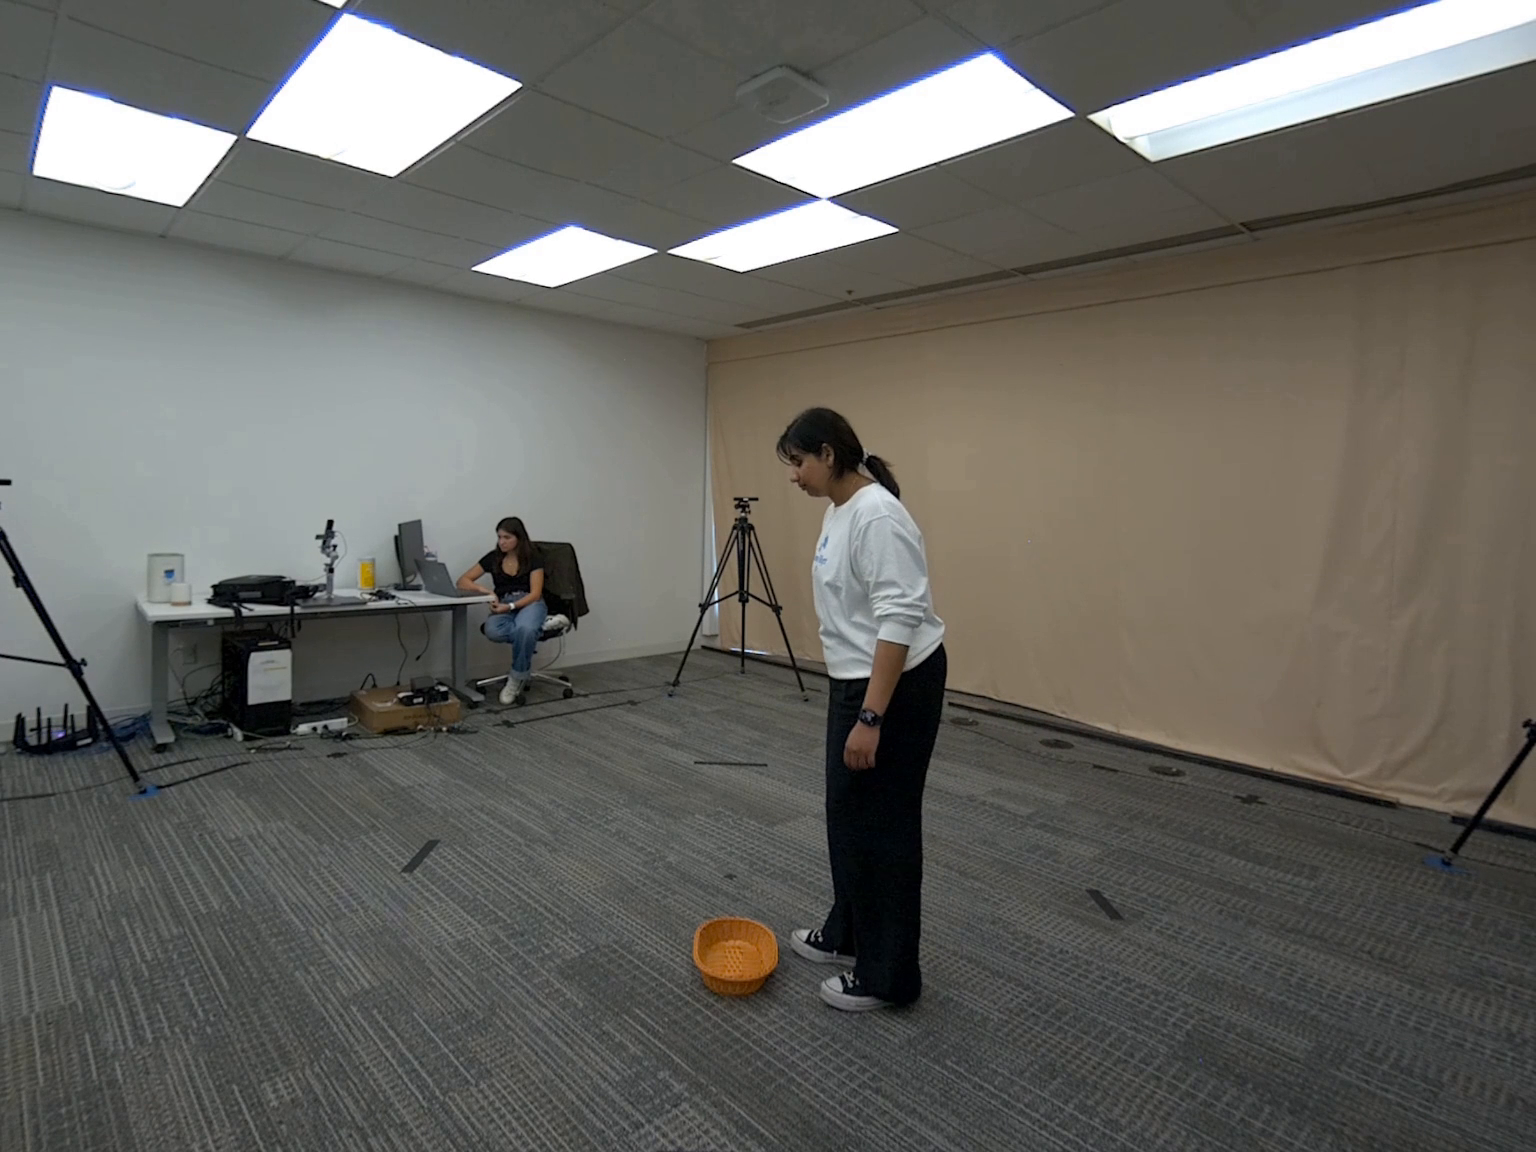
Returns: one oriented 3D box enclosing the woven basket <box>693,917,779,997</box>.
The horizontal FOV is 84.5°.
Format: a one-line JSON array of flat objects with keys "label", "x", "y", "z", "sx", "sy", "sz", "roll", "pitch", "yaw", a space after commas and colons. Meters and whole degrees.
[{"label": "woven basket", "x": -0.106, "y": 1.121, "z": 2.498, "sx": 0.253, "sy": 0.073, "sz": 0.350, "roll": 3, "pitch": 5, "yaw": 2}]
